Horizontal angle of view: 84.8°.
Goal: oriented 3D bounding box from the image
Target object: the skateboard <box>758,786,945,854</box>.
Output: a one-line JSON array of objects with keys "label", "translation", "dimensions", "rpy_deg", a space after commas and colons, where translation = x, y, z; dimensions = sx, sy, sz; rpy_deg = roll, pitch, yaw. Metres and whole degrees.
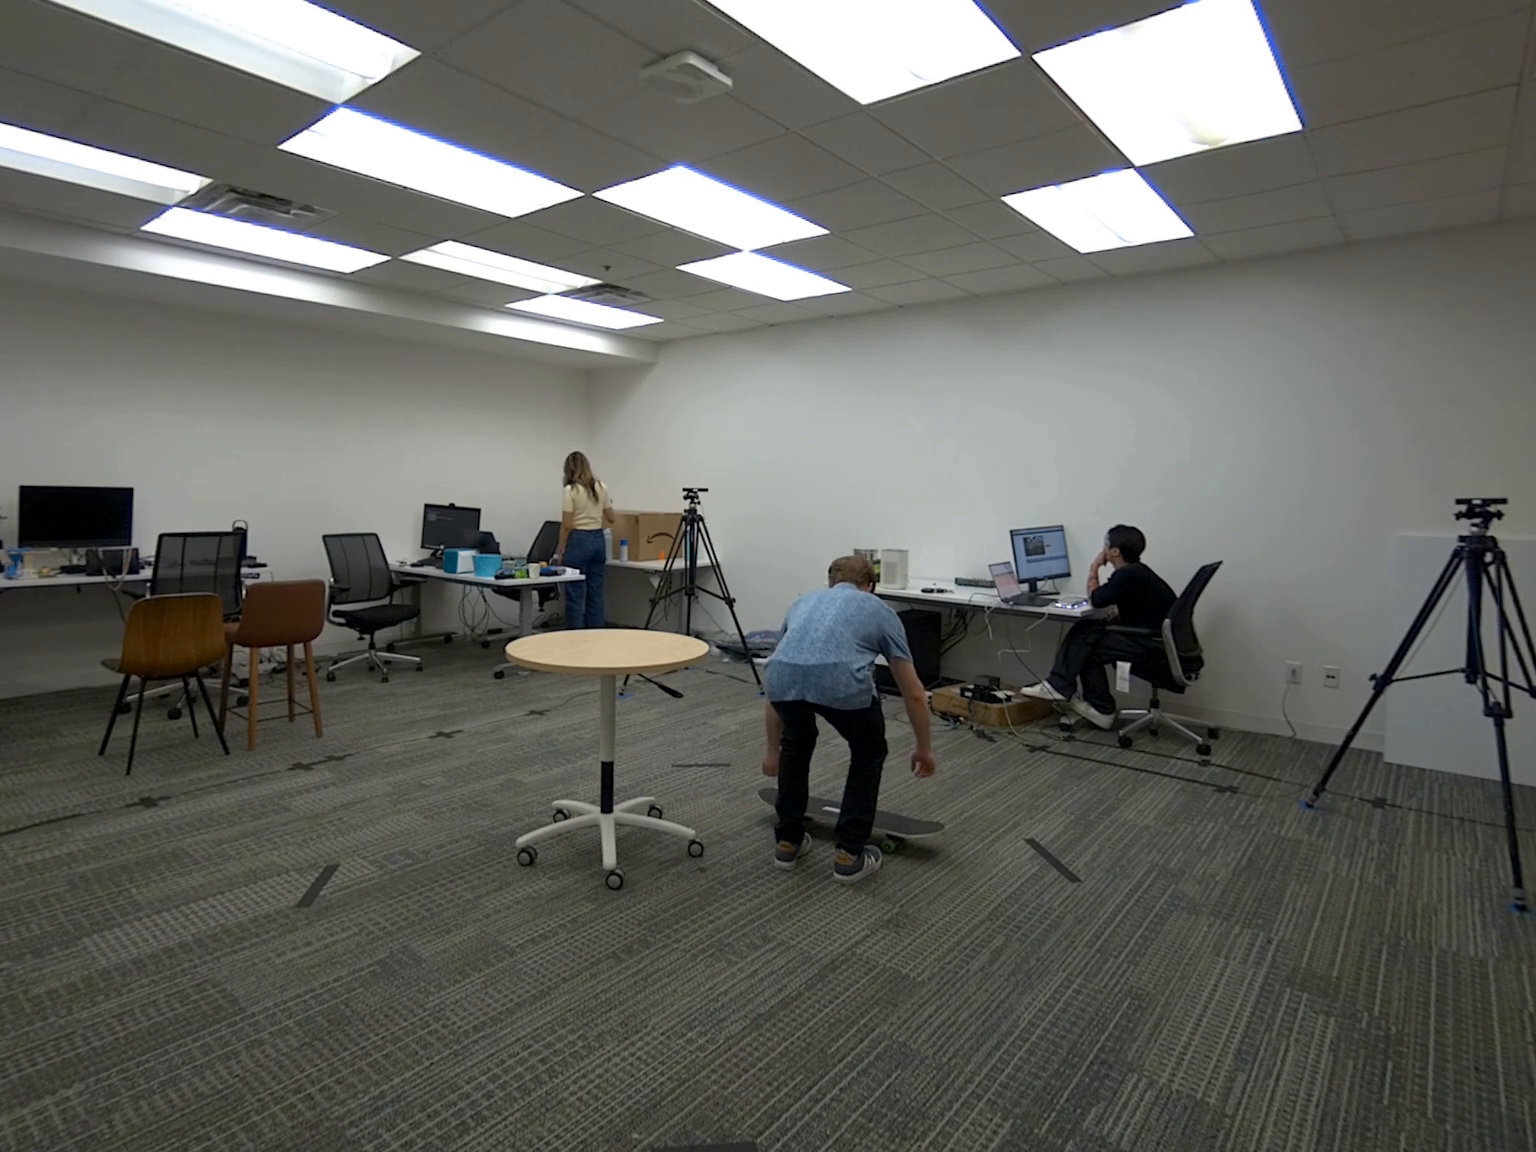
[{"label": "skateboard", "translation": [0.306, 0.985, 3.453], "dimensions": [0.807, 0.110, 0.189], "rpy_deg": [5, 6, 26]}]
